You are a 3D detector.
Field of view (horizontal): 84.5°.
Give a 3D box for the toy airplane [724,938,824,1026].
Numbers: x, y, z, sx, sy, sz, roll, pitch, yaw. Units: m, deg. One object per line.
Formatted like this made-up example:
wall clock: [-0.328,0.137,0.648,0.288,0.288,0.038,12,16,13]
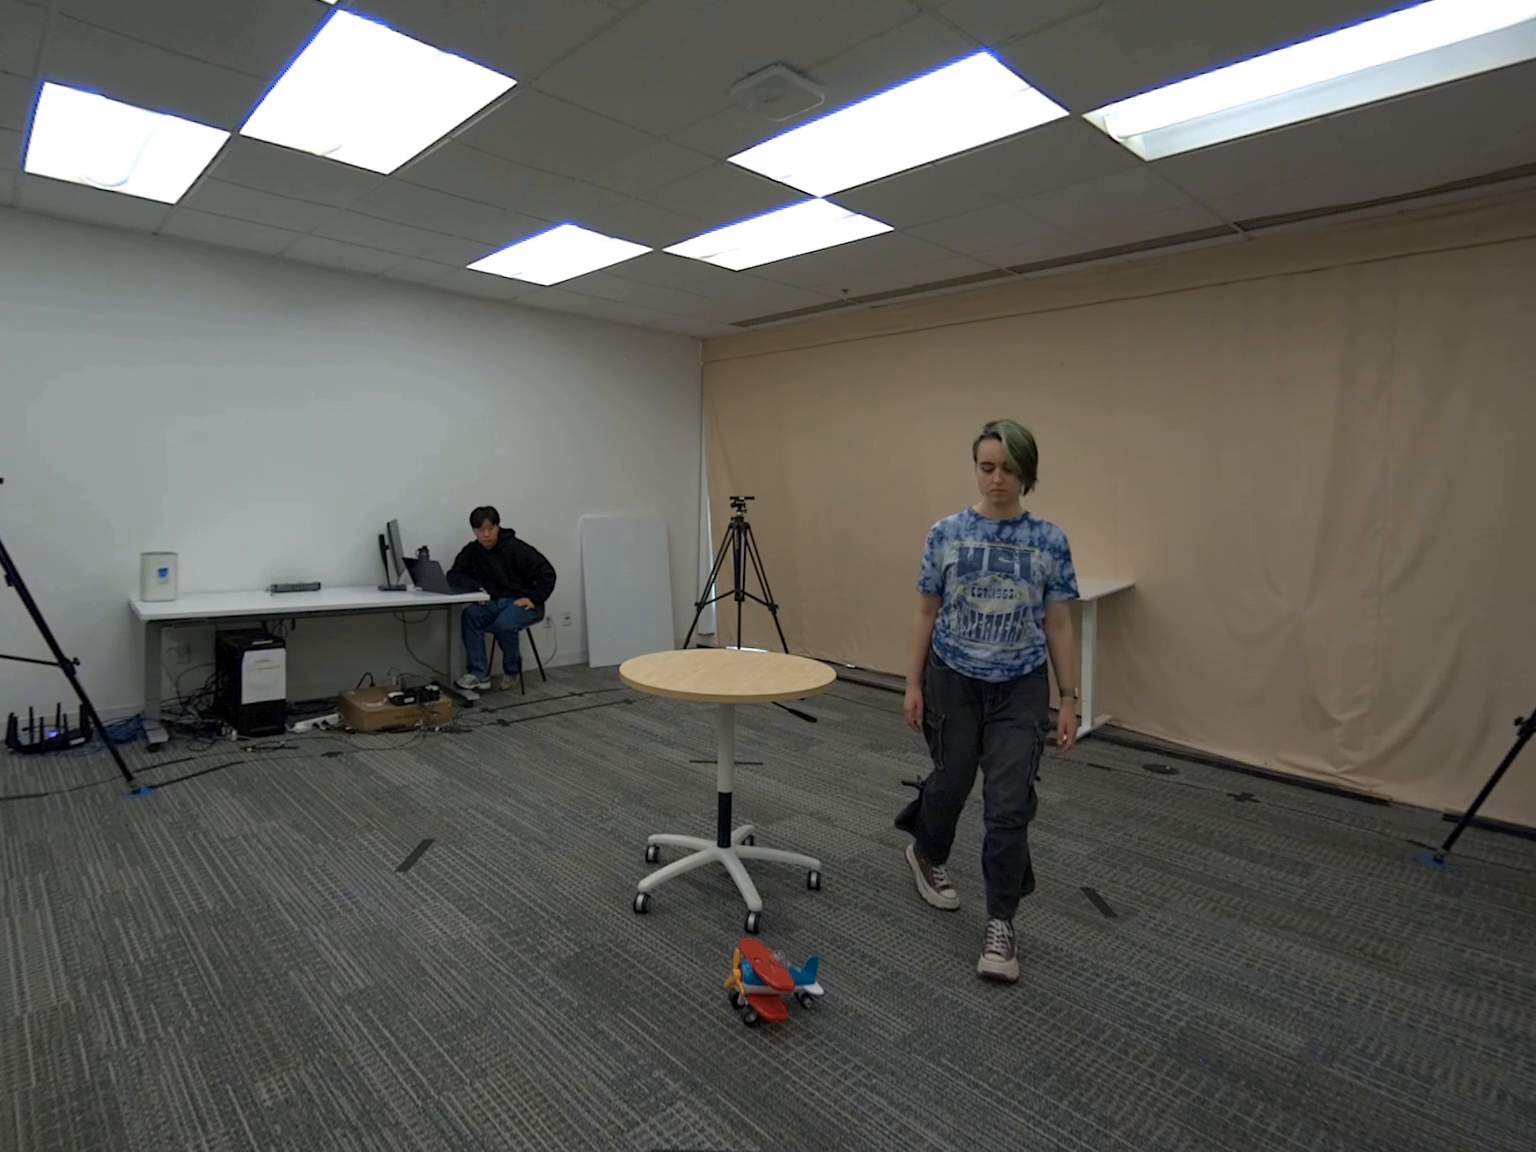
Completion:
toy airplane: [0.001,1.108,2.302,0.257,0.156,0.254,6,8,38]
